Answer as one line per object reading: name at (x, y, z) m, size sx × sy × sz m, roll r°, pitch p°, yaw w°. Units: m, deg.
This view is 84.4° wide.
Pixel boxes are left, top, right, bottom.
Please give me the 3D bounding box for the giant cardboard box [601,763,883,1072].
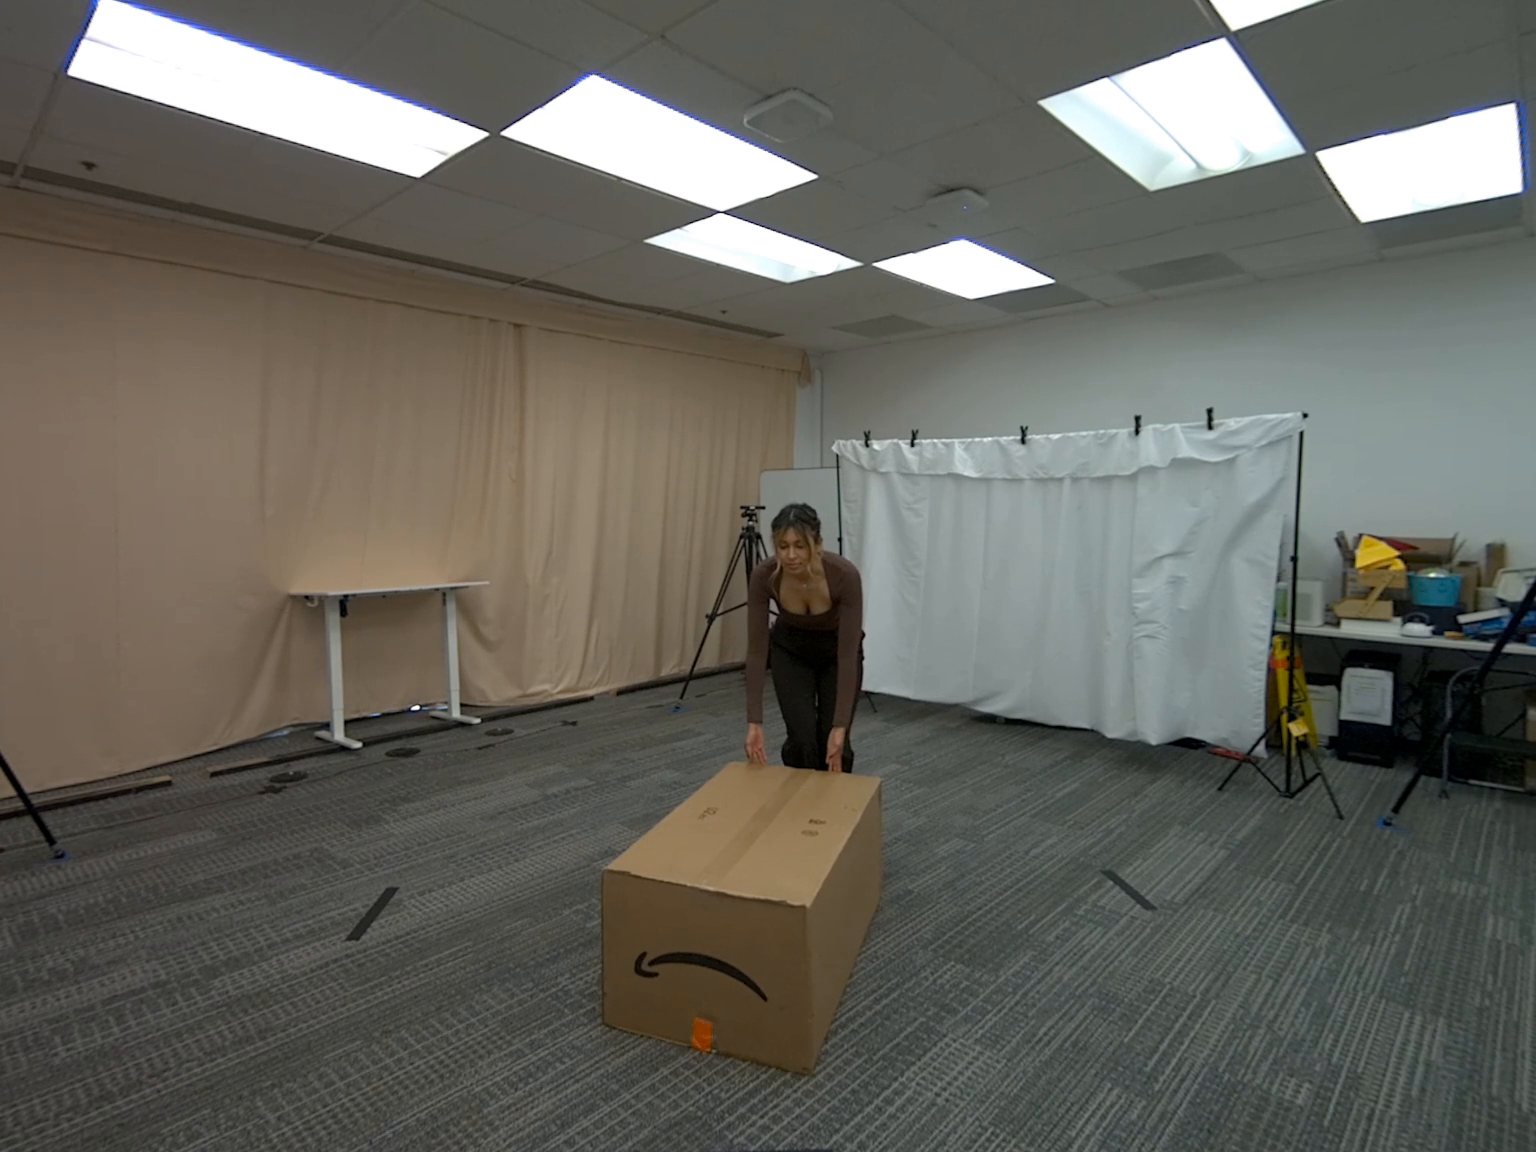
giant cardboard box at (-0.019, 0.964, 2.617) m, size 0.596 × 0.446 × 1.008 m, roll 0°, pitch 4°, yaw 19°
